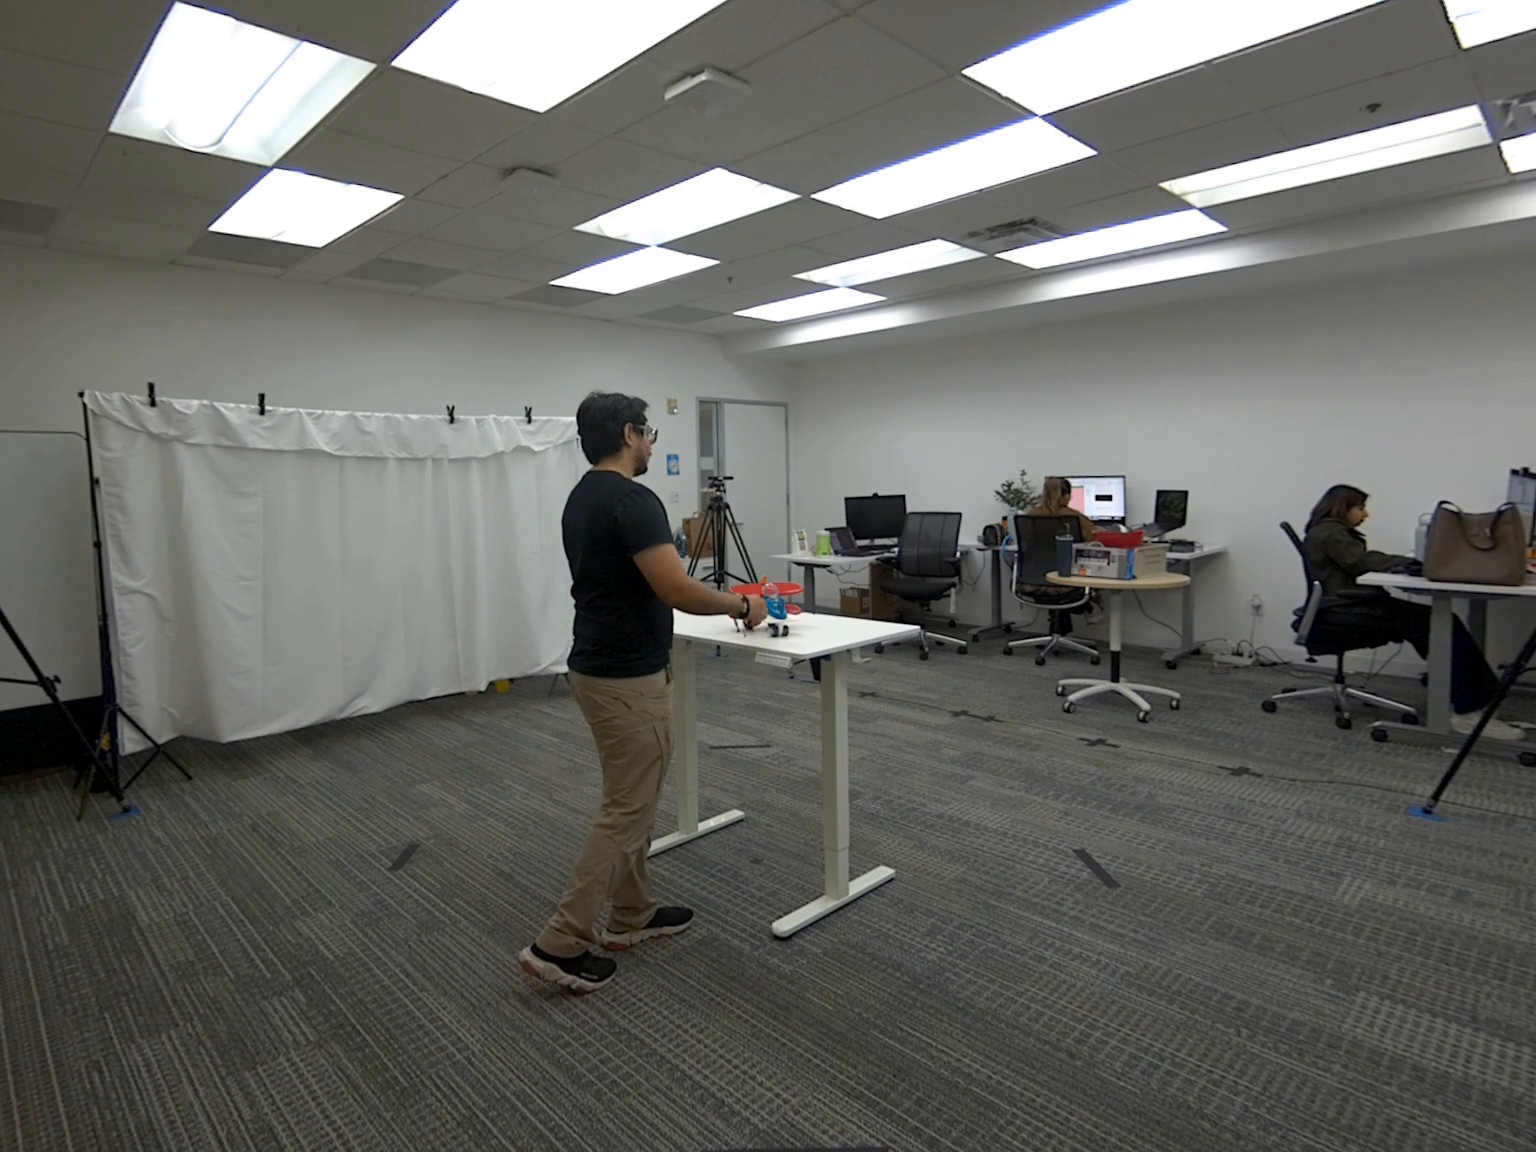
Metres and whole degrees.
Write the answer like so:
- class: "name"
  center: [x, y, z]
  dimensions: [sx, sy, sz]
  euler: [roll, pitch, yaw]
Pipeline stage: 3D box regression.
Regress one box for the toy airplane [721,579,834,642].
- class: "toy airplane"
  center: [0.030, 0.105, 2.819]
  dimensions: [0.267, 0.156, 0.245]
  euler: [3, 7, 43]
